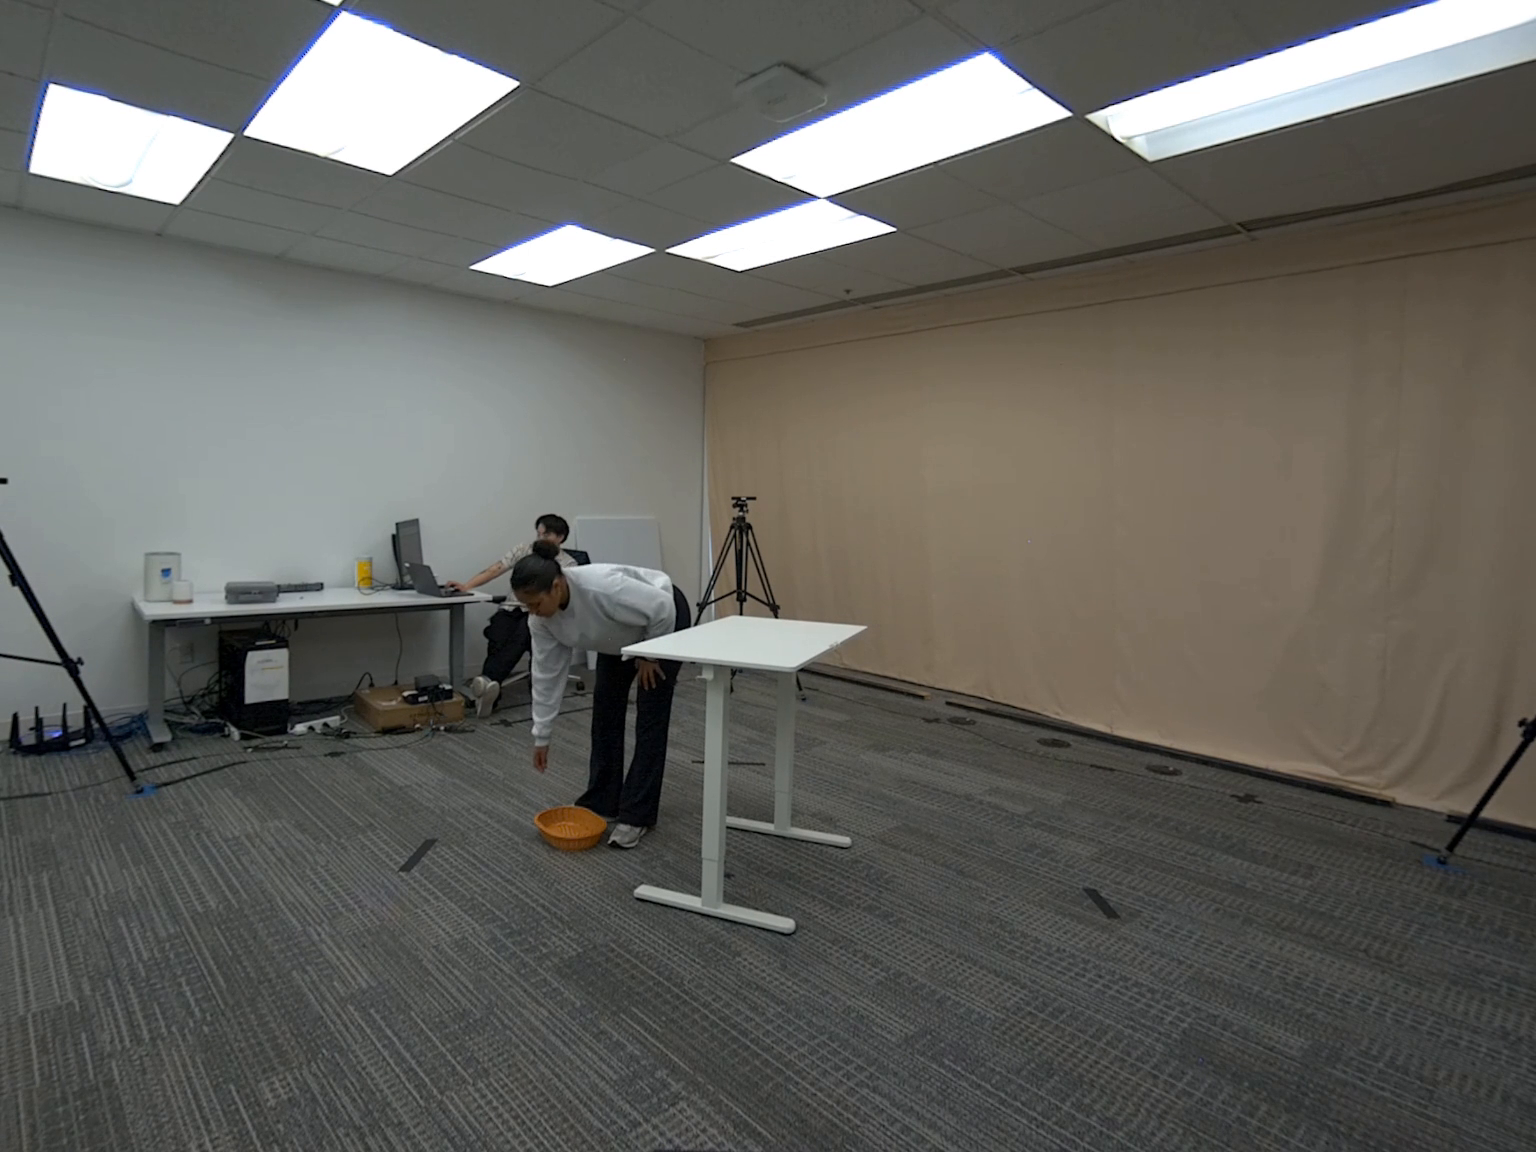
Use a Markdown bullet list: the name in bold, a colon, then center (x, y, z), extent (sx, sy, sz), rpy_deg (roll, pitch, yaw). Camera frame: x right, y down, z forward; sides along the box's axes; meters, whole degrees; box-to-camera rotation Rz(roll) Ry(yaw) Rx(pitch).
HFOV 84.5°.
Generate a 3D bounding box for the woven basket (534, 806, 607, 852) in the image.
- **woven basket**: center (-0.810, 1.020, 3.406), extent (0.247, 0.073, 0.359), rpy_deg (-4, 8, -41)
